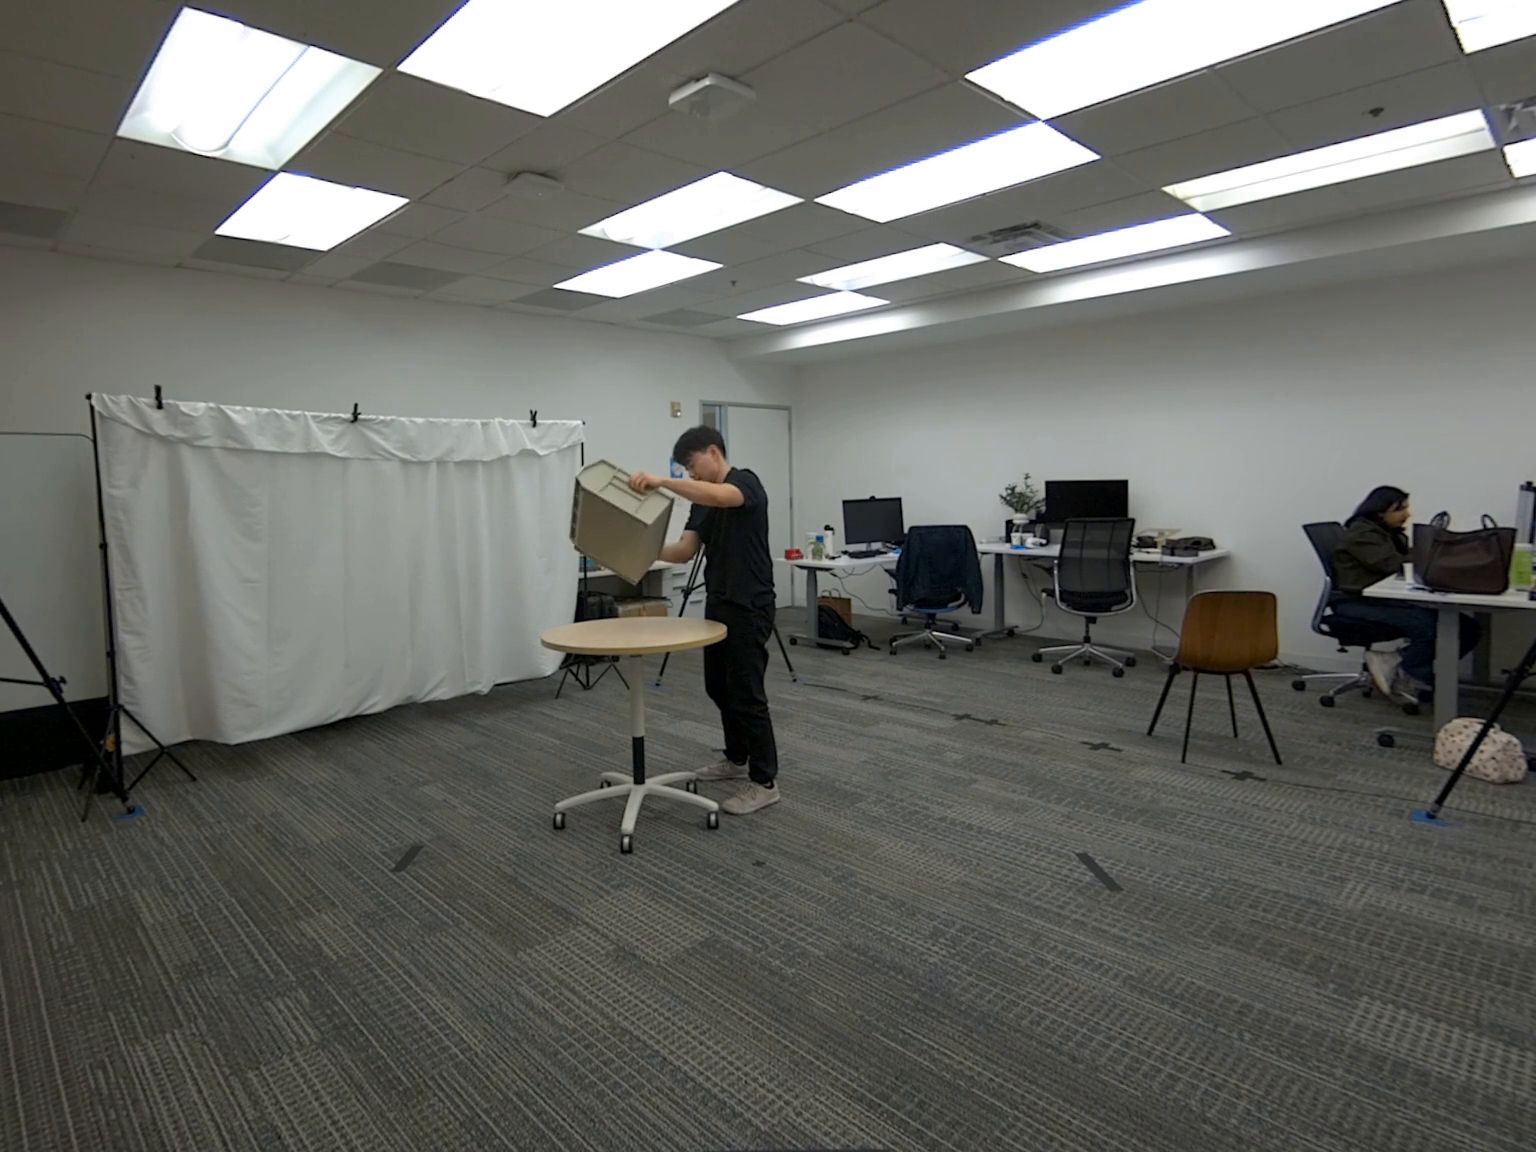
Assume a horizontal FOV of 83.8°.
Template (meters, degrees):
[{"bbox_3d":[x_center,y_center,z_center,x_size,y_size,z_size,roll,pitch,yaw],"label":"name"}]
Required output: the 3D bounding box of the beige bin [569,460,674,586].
[{"bbox_3d":[-0.608,-0.219,3.511,0.382,0.416,0.189,31,51,8],"label":"beige bin"}]
